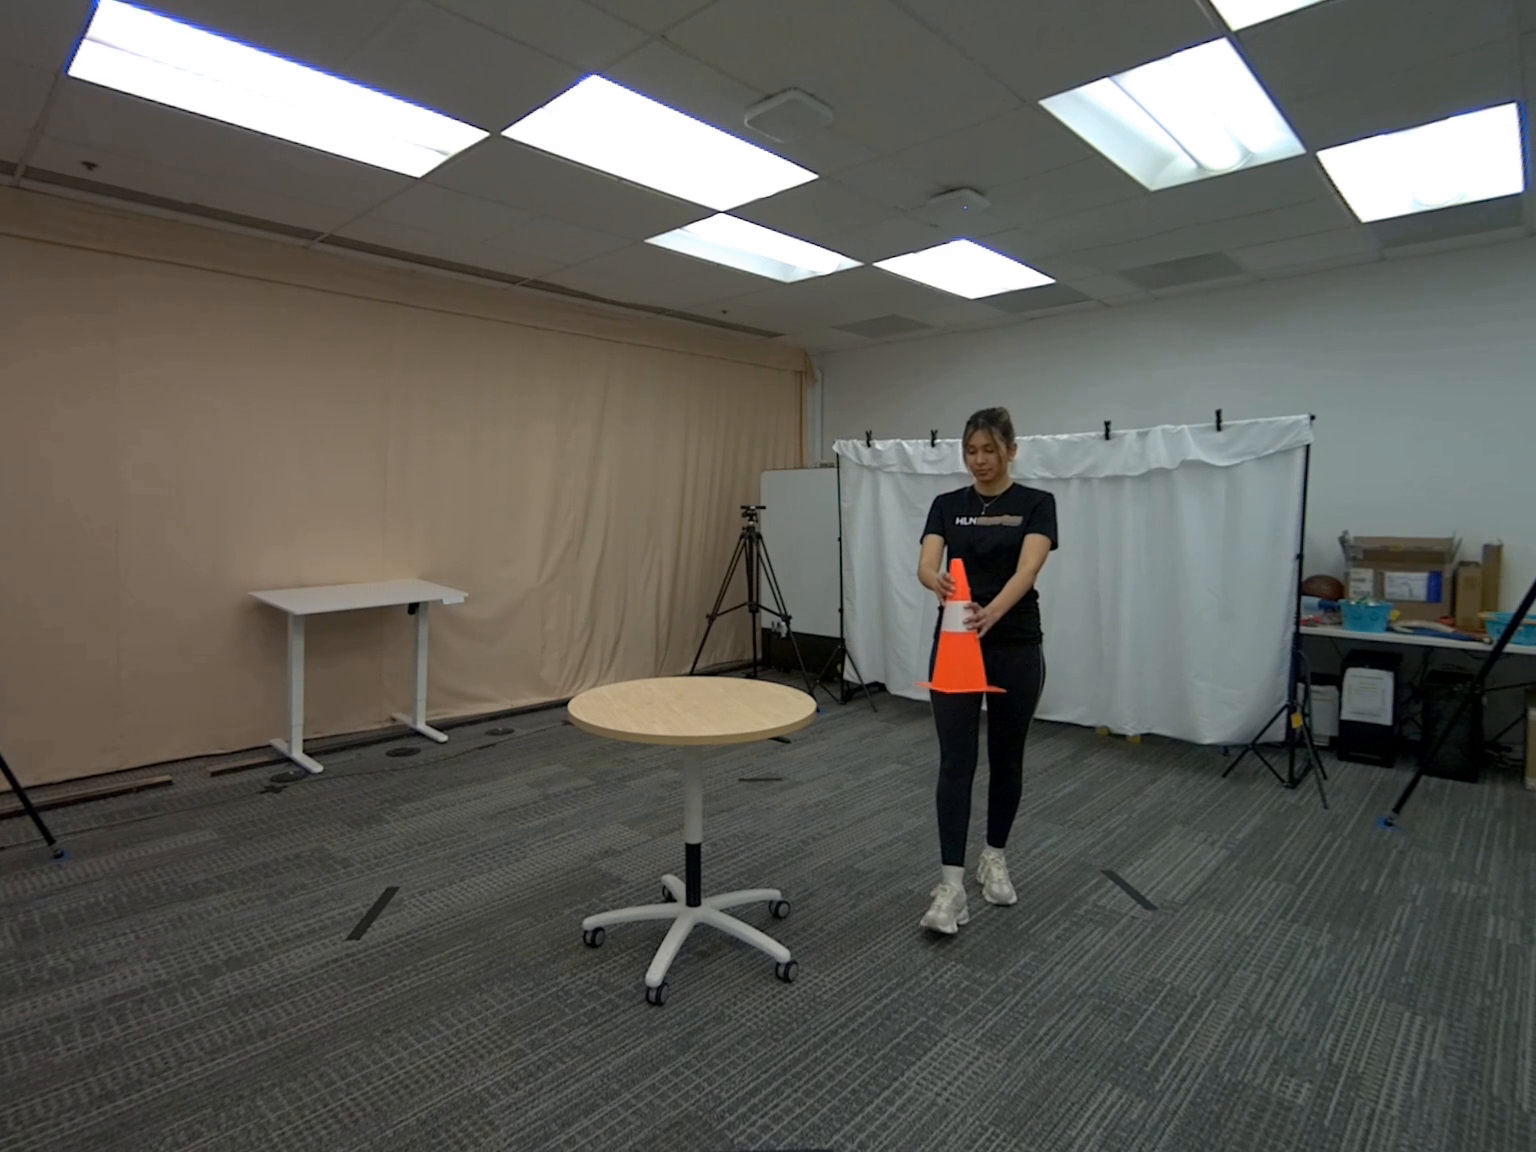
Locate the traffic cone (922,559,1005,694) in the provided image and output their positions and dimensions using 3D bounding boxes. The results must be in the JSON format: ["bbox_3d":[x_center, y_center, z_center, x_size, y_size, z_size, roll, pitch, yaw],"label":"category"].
[{"bbox_3d":[0.580,0.145,2.498,0.210,0.383,0.198,1,1,45],"label":"traffic cone"}]
